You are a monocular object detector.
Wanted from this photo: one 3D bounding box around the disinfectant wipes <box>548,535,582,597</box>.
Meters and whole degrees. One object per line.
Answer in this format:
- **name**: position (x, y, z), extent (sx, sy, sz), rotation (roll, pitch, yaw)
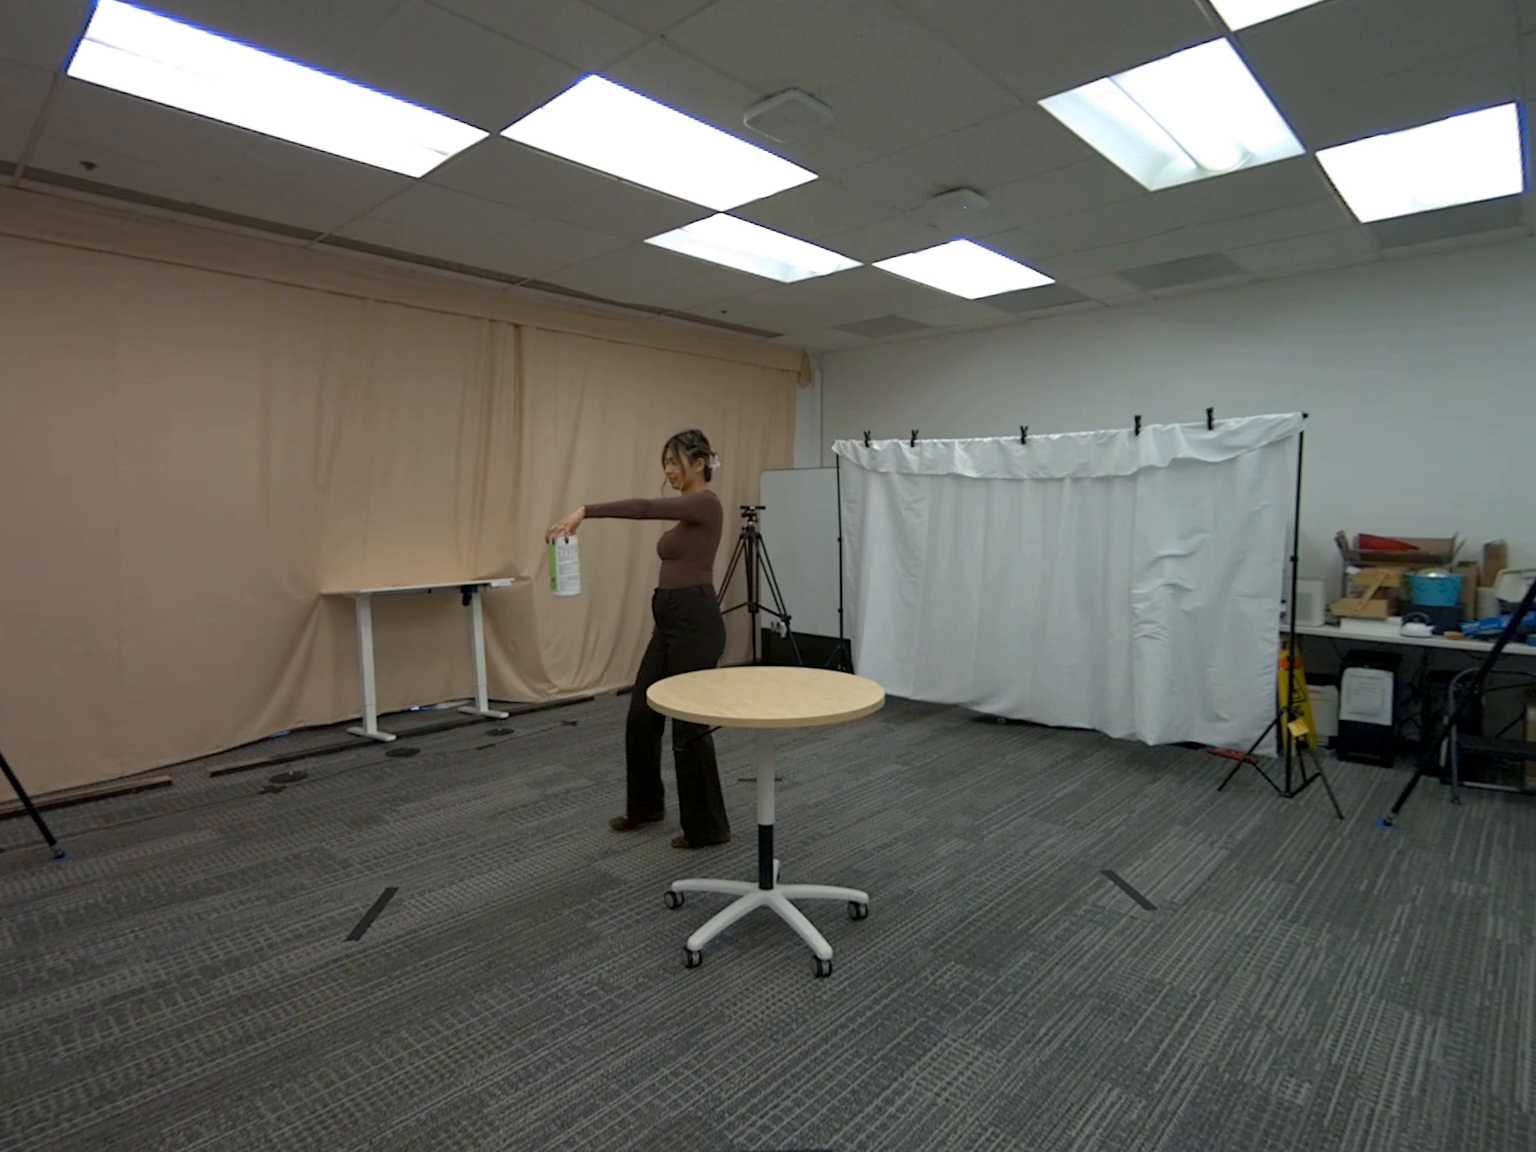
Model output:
- **disinfectant wipes**: position (-0.729, -0.043, 3.029), extent (0.118, 0.216, 0.118), rotation (-2, 9, -2)
